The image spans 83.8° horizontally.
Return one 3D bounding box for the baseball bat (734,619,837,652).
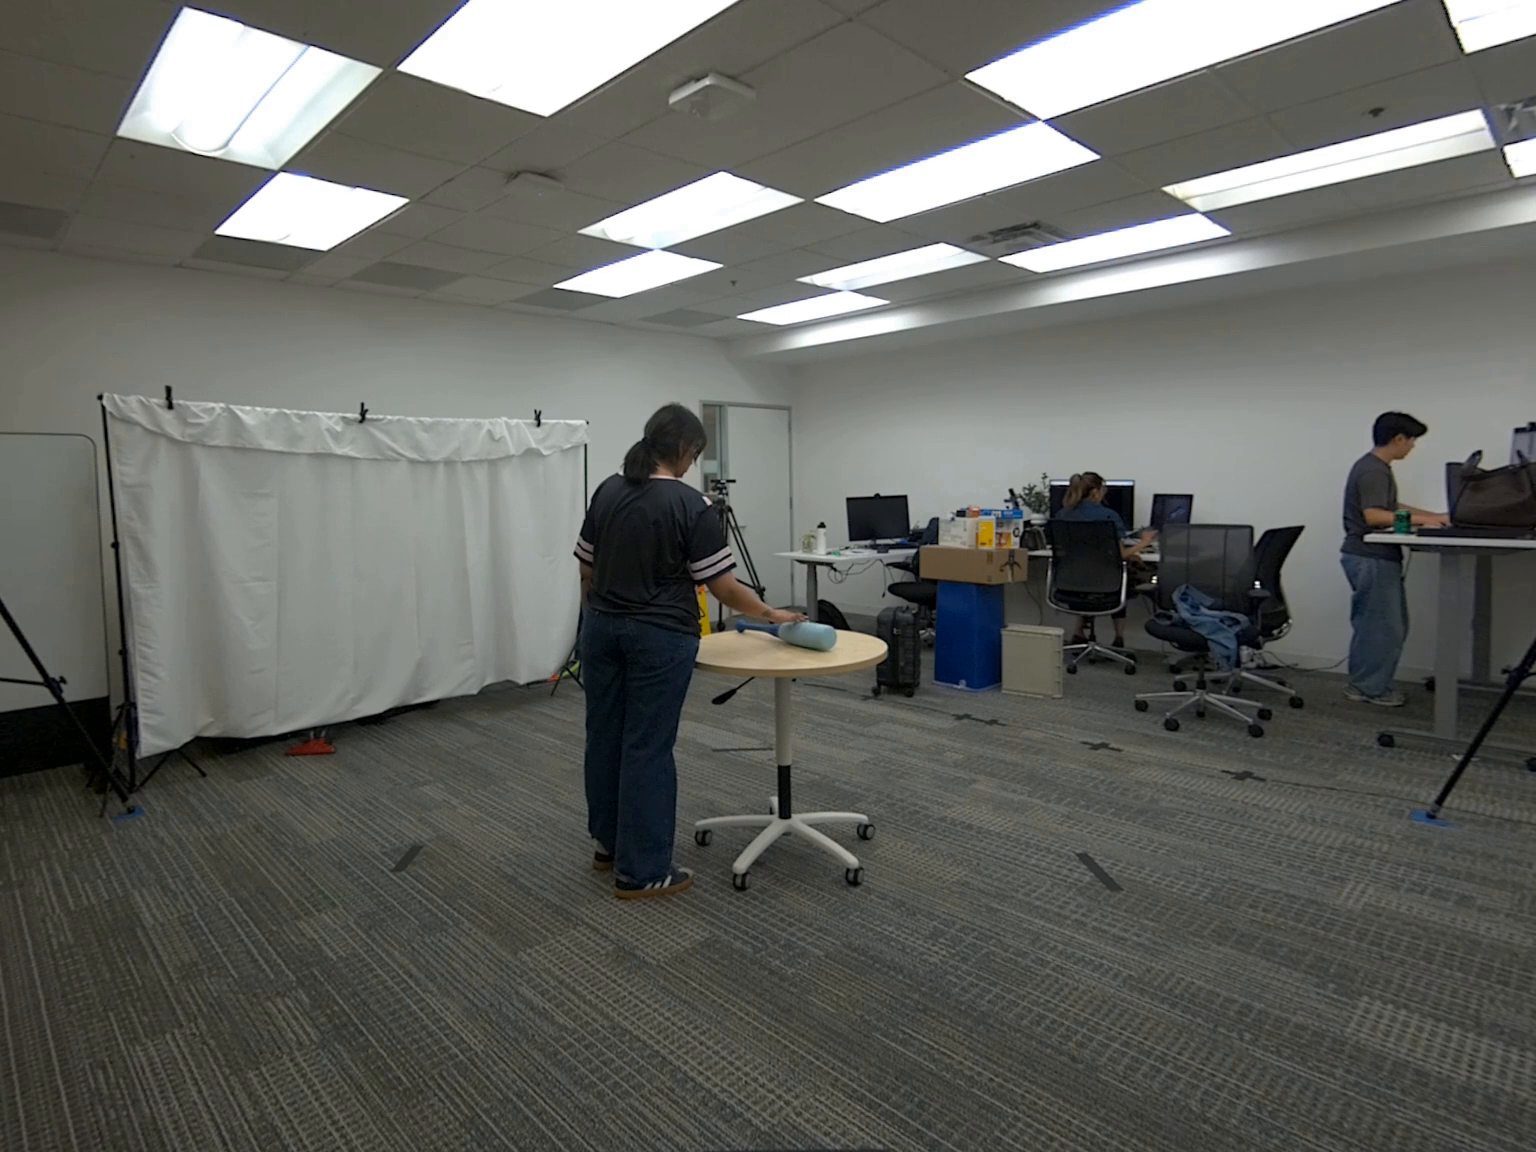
[{"bbox_3d":[0.053,0.212,3.226,0.087,0.089,0.558,-4,4,-35],"label":"baseball bat"}]
